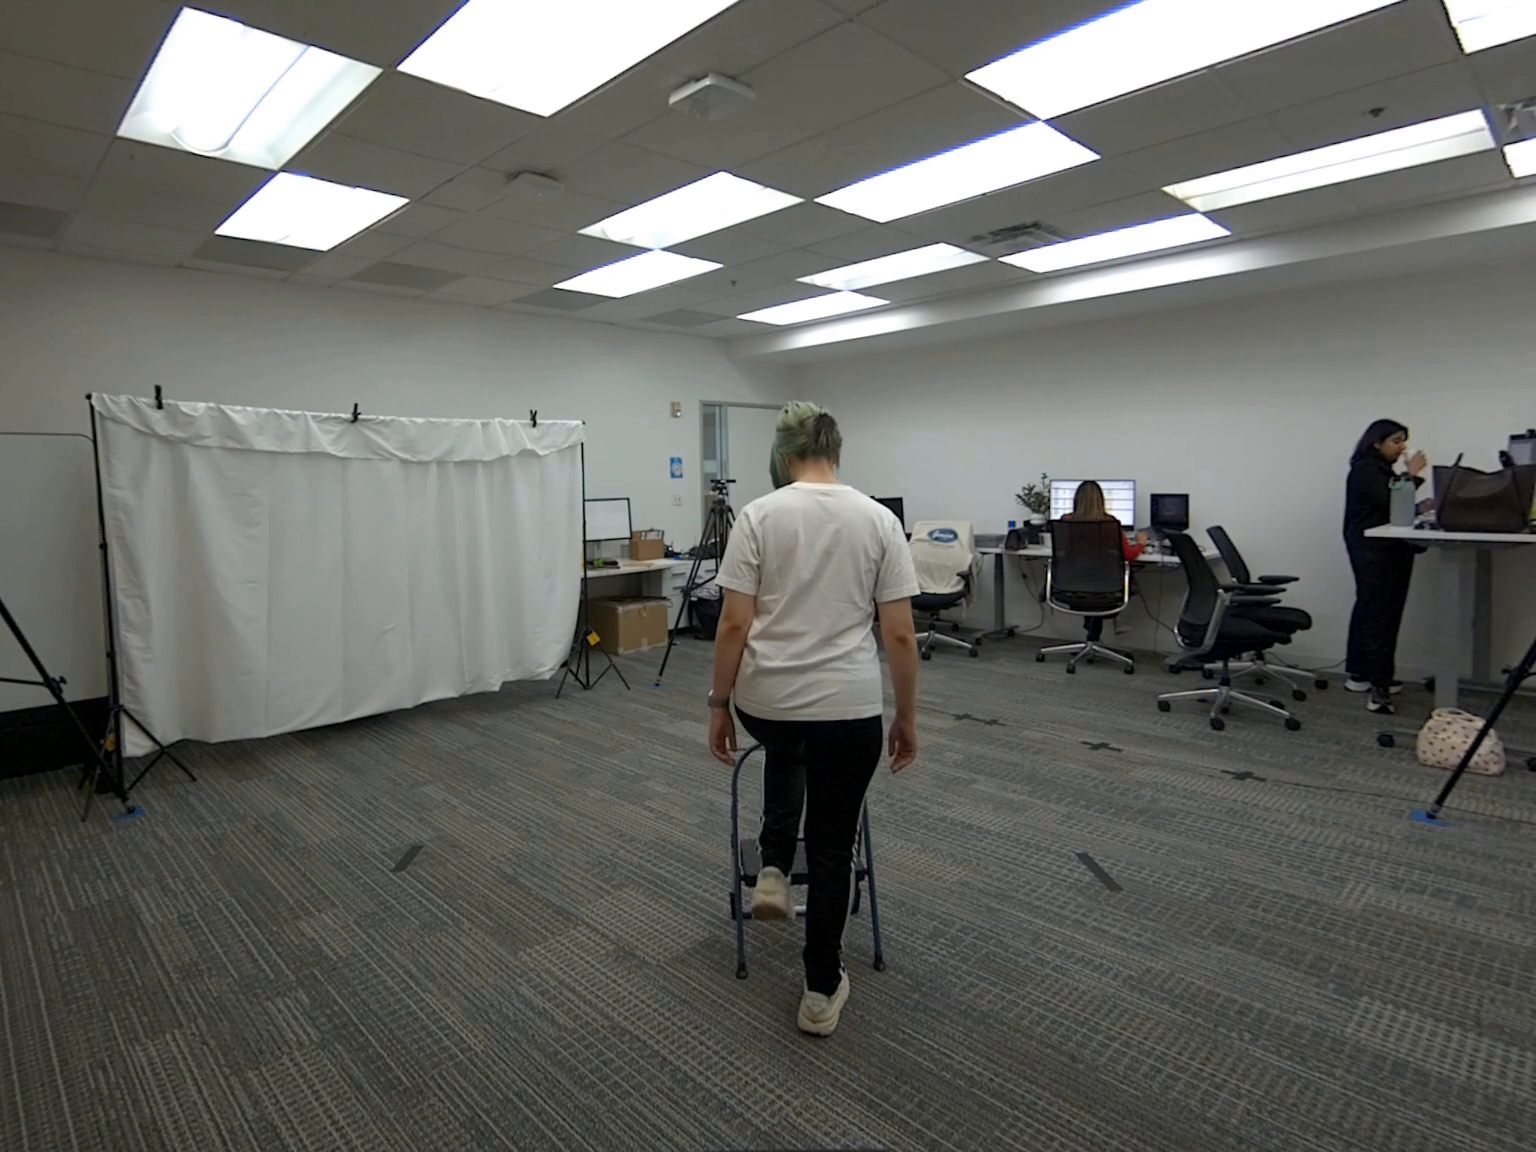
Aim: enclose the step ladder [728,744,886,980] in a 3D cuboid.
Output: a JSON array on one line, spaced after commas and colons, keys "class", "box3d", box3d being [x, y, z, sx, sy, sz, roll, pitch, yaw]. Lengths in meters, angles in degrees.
[{"class": "step ladder", "box3d": [0.104, 0.807, 2.563, 0.429, 0.604, 0.352, -1, 4, -5]}]
